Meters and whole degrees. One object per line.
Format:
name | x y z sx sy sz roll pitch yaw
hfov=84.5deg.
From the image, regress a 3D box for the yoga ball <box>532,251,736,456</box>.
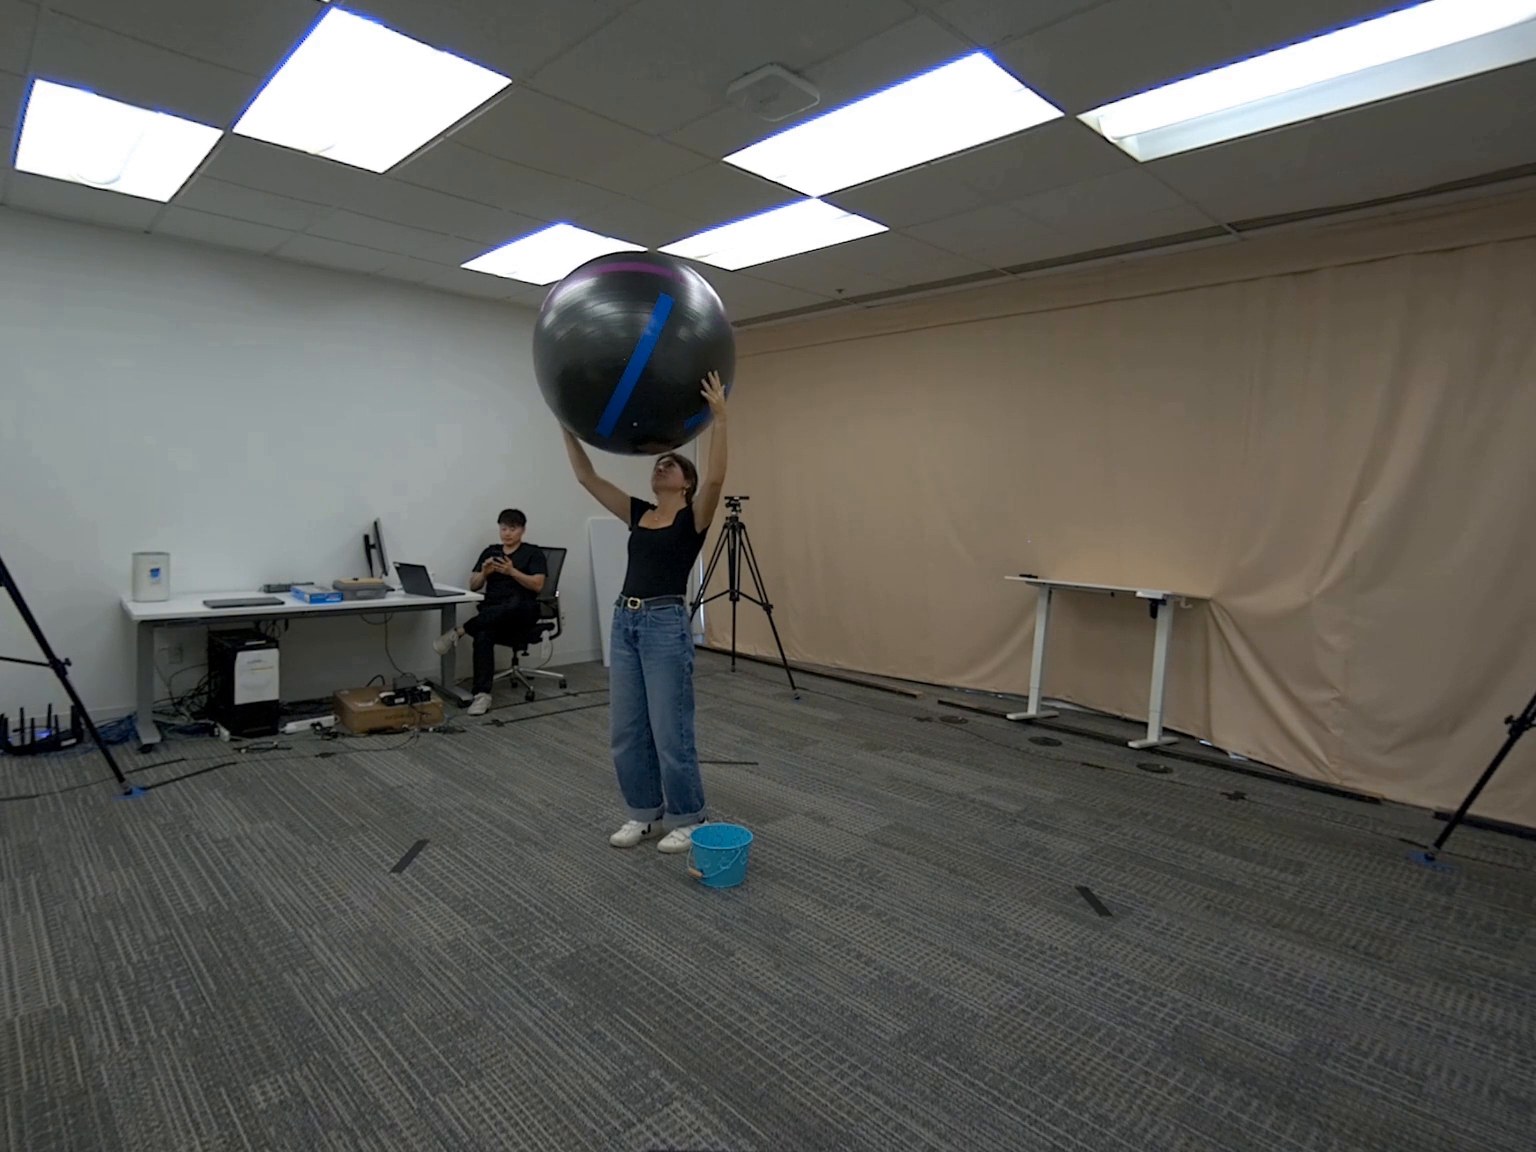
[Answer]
yoga ball | -0.510 -0.829 3.181 0.757 0.756 0.761 1 4 -1
